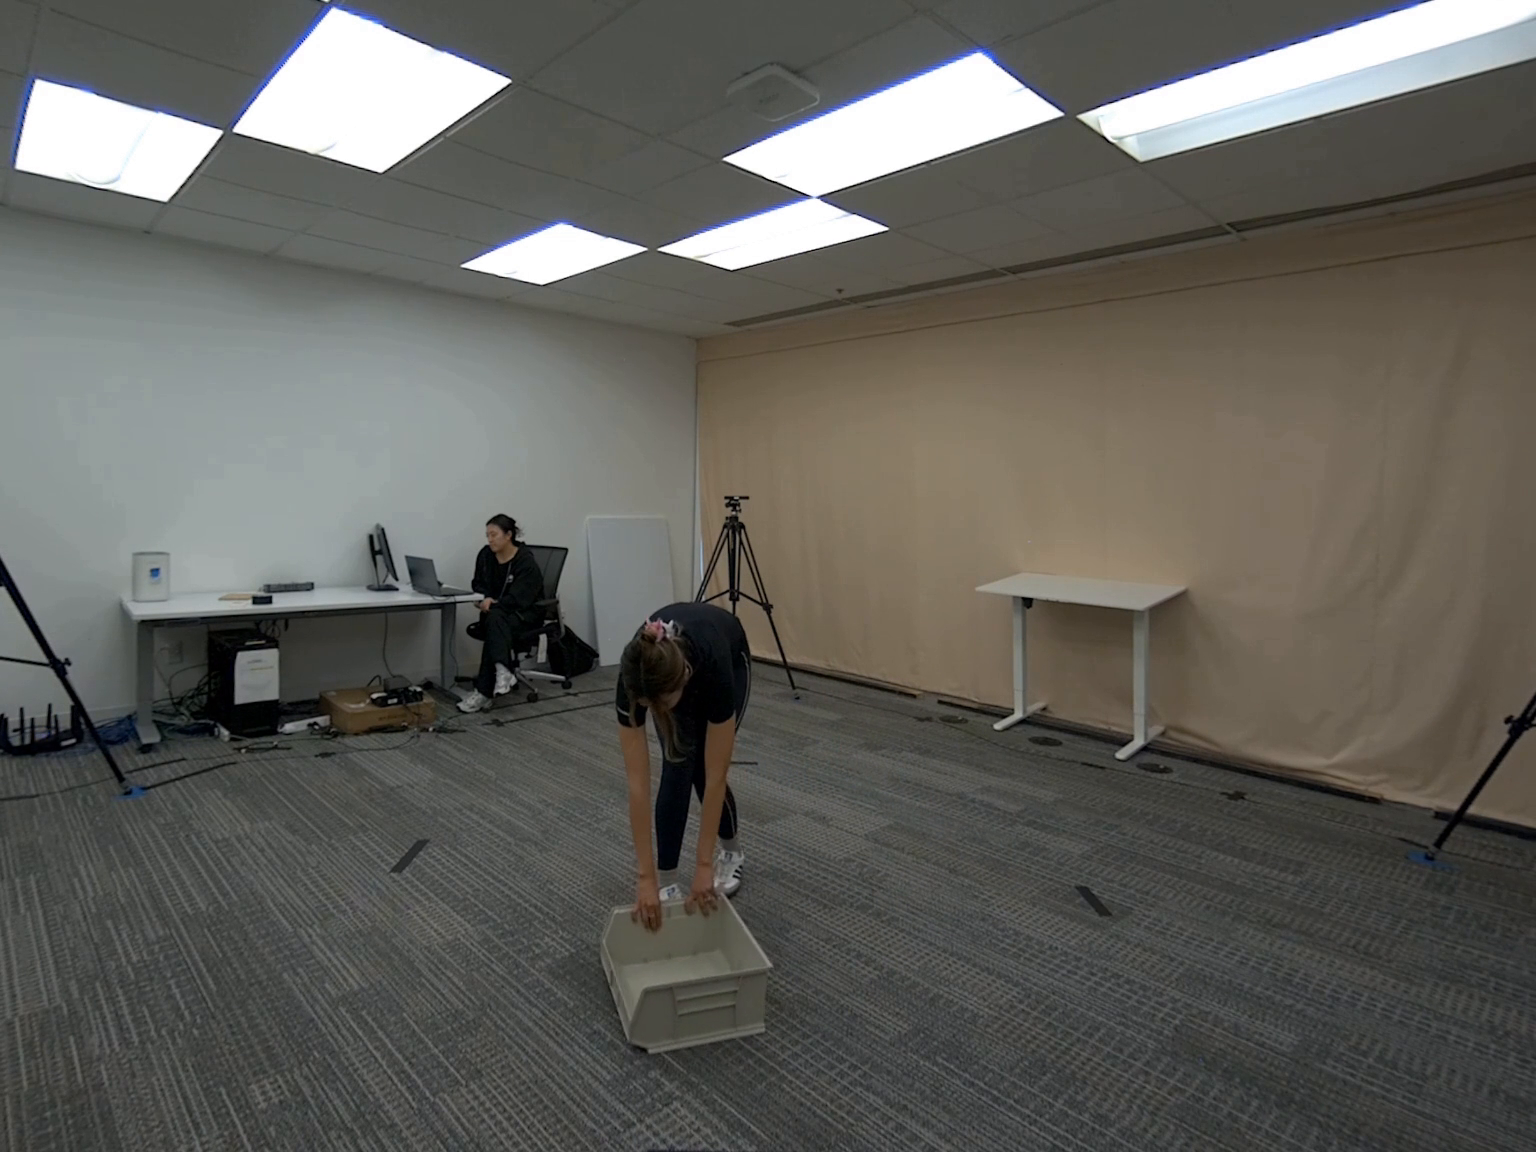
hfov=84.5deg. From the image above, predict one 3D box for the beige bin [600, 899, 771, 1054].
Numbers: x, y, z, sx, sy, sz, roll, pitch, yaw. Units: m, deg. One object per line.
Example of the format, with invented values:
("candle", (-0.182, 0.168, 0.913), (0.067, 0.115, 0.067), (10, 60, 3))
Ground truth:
("beige bin", (-0.251, 1.094, 2.324), (0.371, 0.188, 0.430), (2, 4, -21))
